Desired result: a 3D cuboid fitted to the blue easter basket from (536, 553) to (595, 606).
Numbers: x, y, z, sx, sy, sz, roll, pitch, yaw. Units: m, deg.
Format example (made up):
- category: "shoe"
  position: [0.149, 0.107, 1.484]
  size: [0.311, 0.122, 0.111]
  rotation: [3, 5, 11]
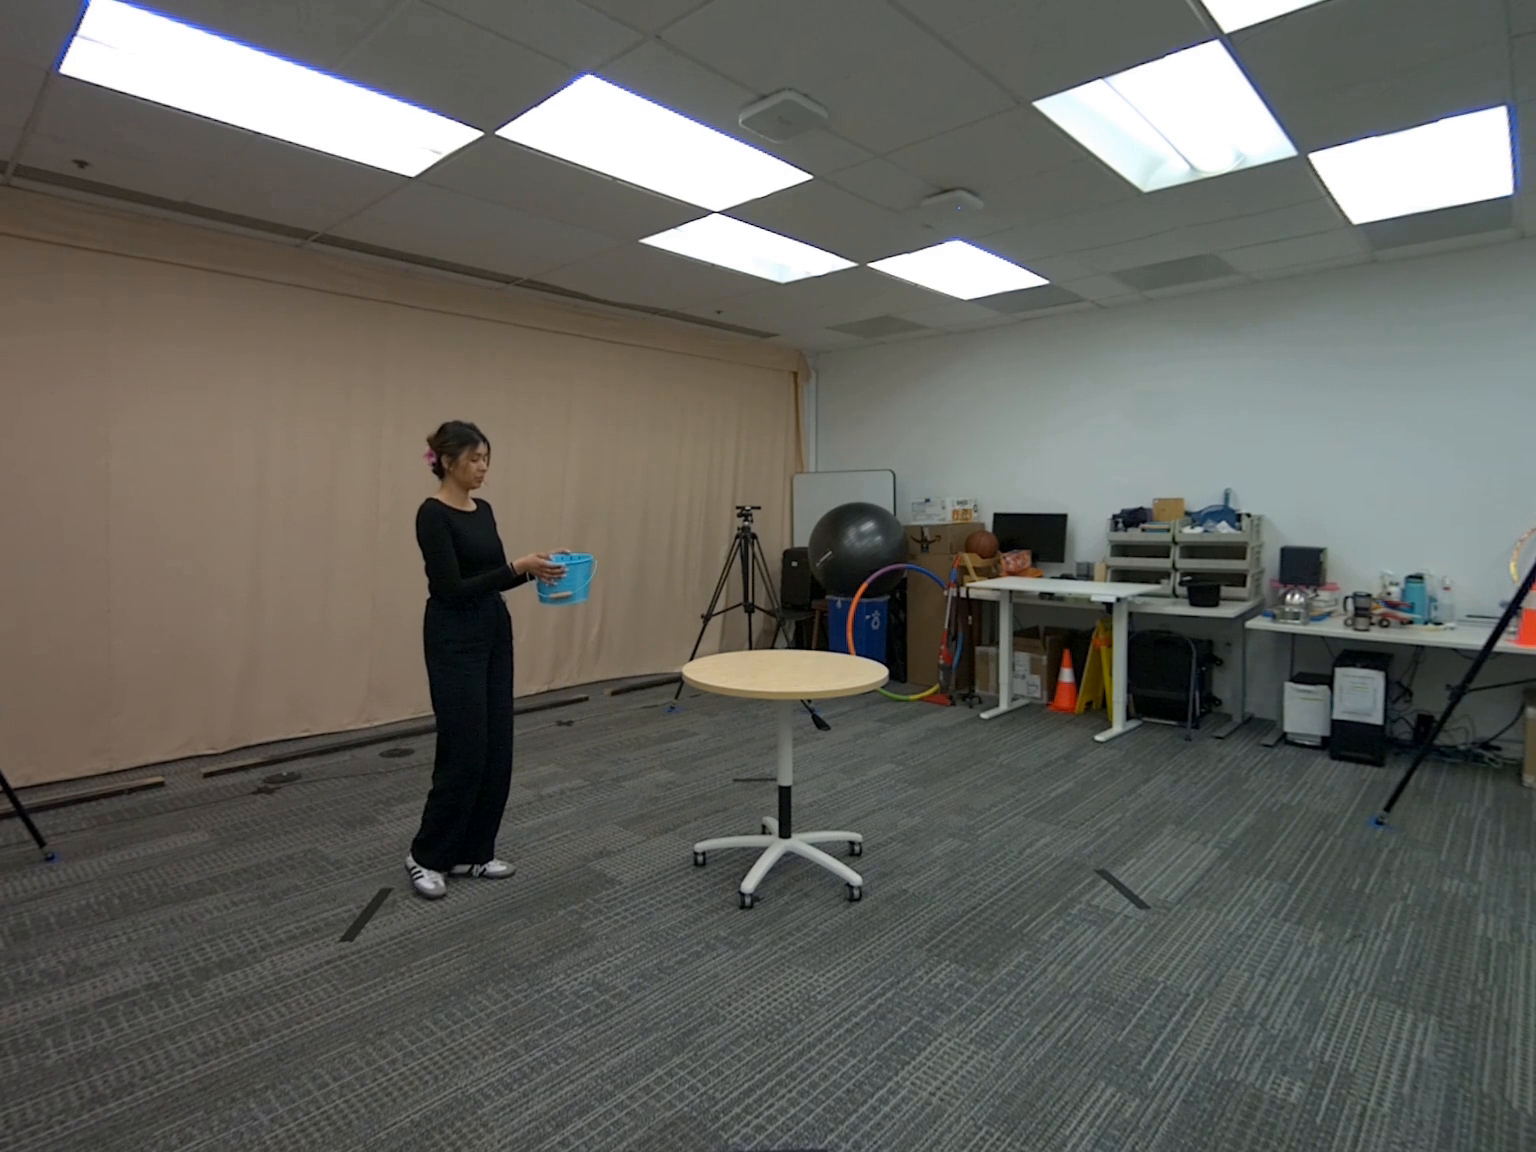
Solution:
- category: "blue easter basket"
  position: [-0.770, 0.016, 3.080]
  size: [0.243, 0.155, 0.245]
  rotation: [-4, 9, -1]
